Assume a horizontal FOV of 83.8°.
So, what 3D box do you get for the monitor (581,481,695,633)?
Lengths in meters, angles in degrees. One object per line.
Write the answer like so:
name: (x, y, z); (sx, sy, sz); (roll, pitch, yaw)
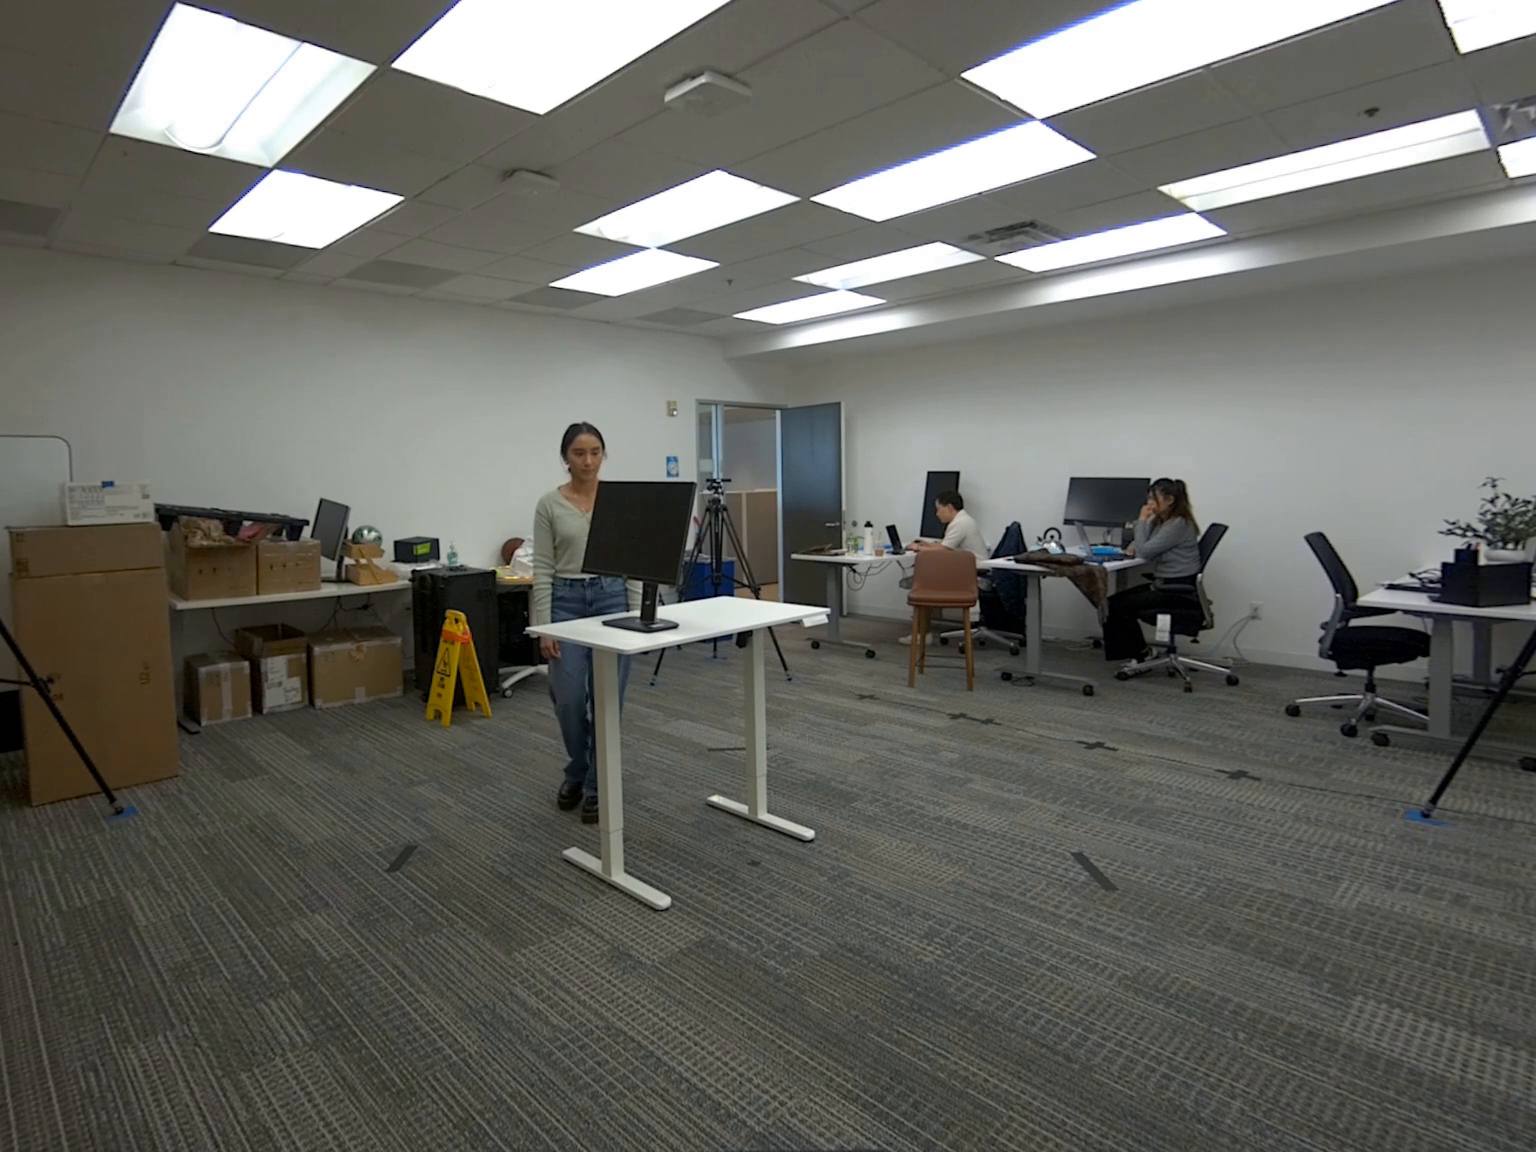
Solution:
monitor: (-0.450, -0.078, 3.029); (0.547, 0.513, 0.170); (6, 10, 43)
